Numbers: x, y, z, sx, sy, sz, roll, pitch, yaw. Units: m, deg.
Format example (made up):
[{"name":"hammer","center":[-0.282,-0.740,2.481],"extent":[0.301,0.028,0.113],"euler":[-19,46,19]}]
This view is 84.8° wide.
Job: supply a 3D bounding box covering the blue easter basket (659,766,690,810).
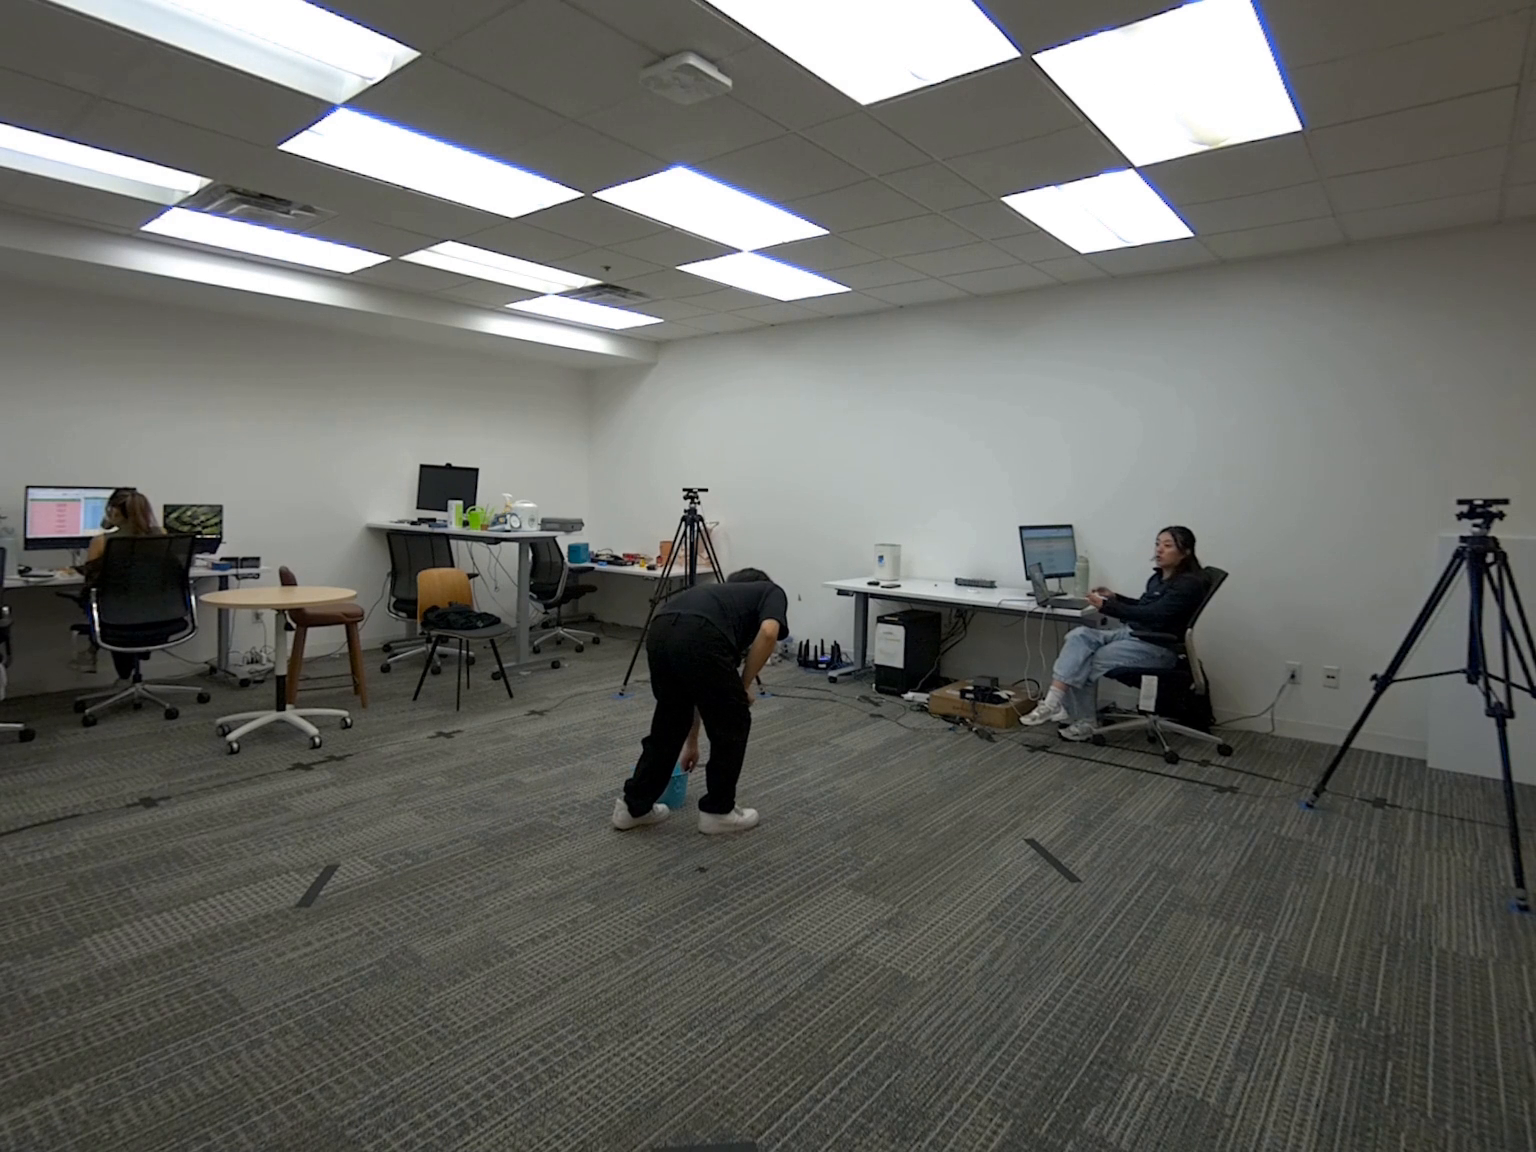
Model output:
[{"name":"blue easter basket","center":[-0.471,0.920,3.778],"extent":[0.243,0.155,0.245],"euler":[1,5,-2]}]
